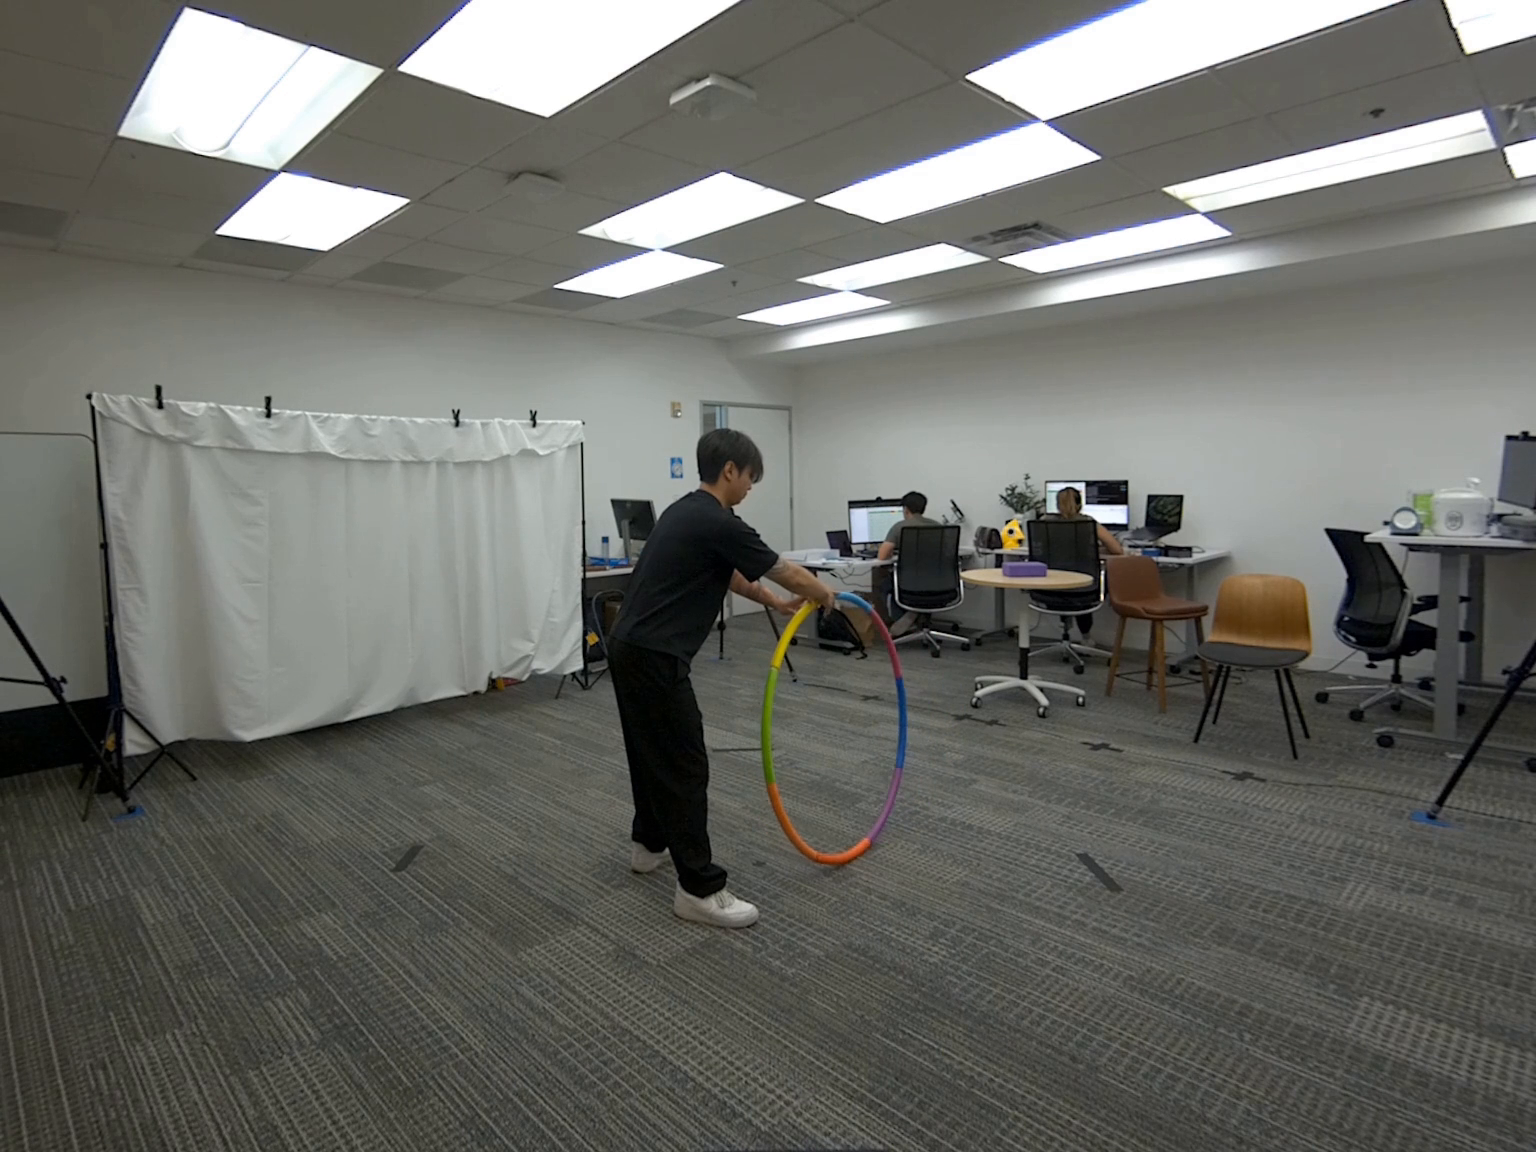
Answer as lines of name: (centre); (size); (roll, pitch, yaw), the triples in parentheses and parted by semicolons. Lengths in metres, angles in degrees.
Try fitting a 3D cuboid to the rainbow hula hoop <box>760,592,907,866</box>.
rainbow hula hoop: (0.284, 0.553, 3.167); (0.036, 0.979, 0.954); (-7, 0, 37)
